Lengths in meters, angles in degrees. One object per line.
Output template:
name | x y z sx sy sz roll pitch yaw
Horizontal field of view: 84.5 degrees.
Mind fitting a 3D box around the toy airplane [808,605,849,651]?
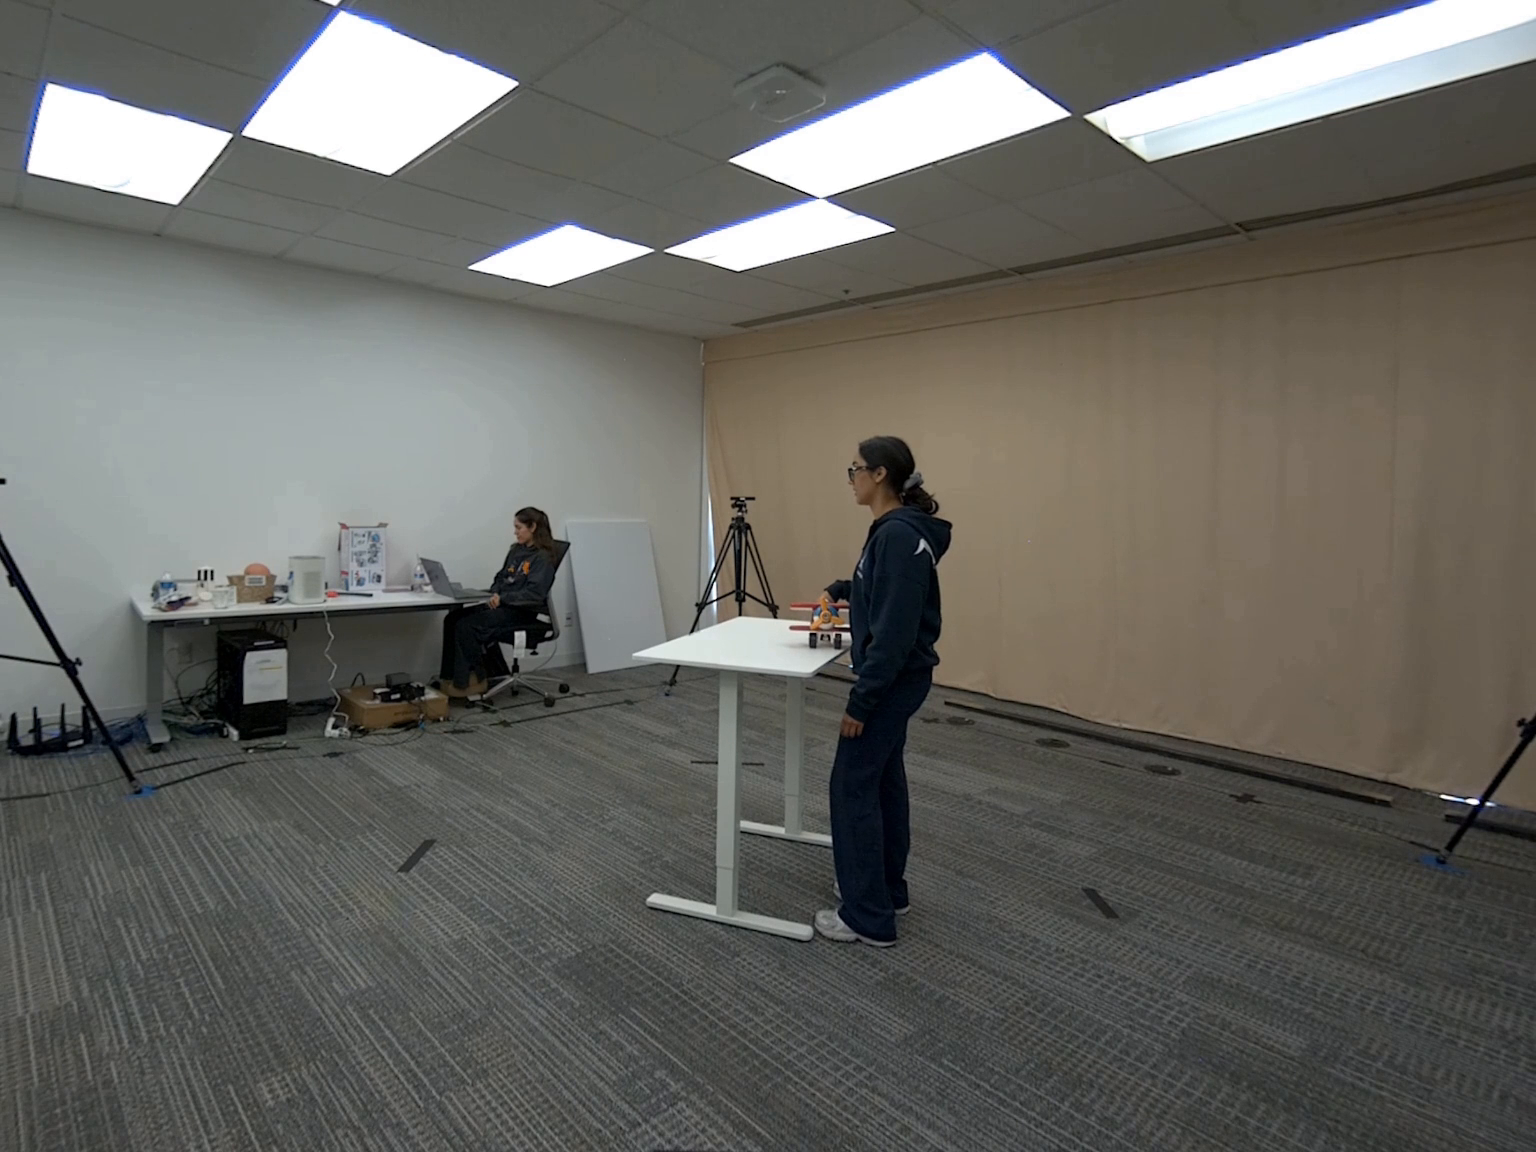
toy airplane | 0.180 0.165 3.008 0.247 0.156 0.264 -1 5 -22
